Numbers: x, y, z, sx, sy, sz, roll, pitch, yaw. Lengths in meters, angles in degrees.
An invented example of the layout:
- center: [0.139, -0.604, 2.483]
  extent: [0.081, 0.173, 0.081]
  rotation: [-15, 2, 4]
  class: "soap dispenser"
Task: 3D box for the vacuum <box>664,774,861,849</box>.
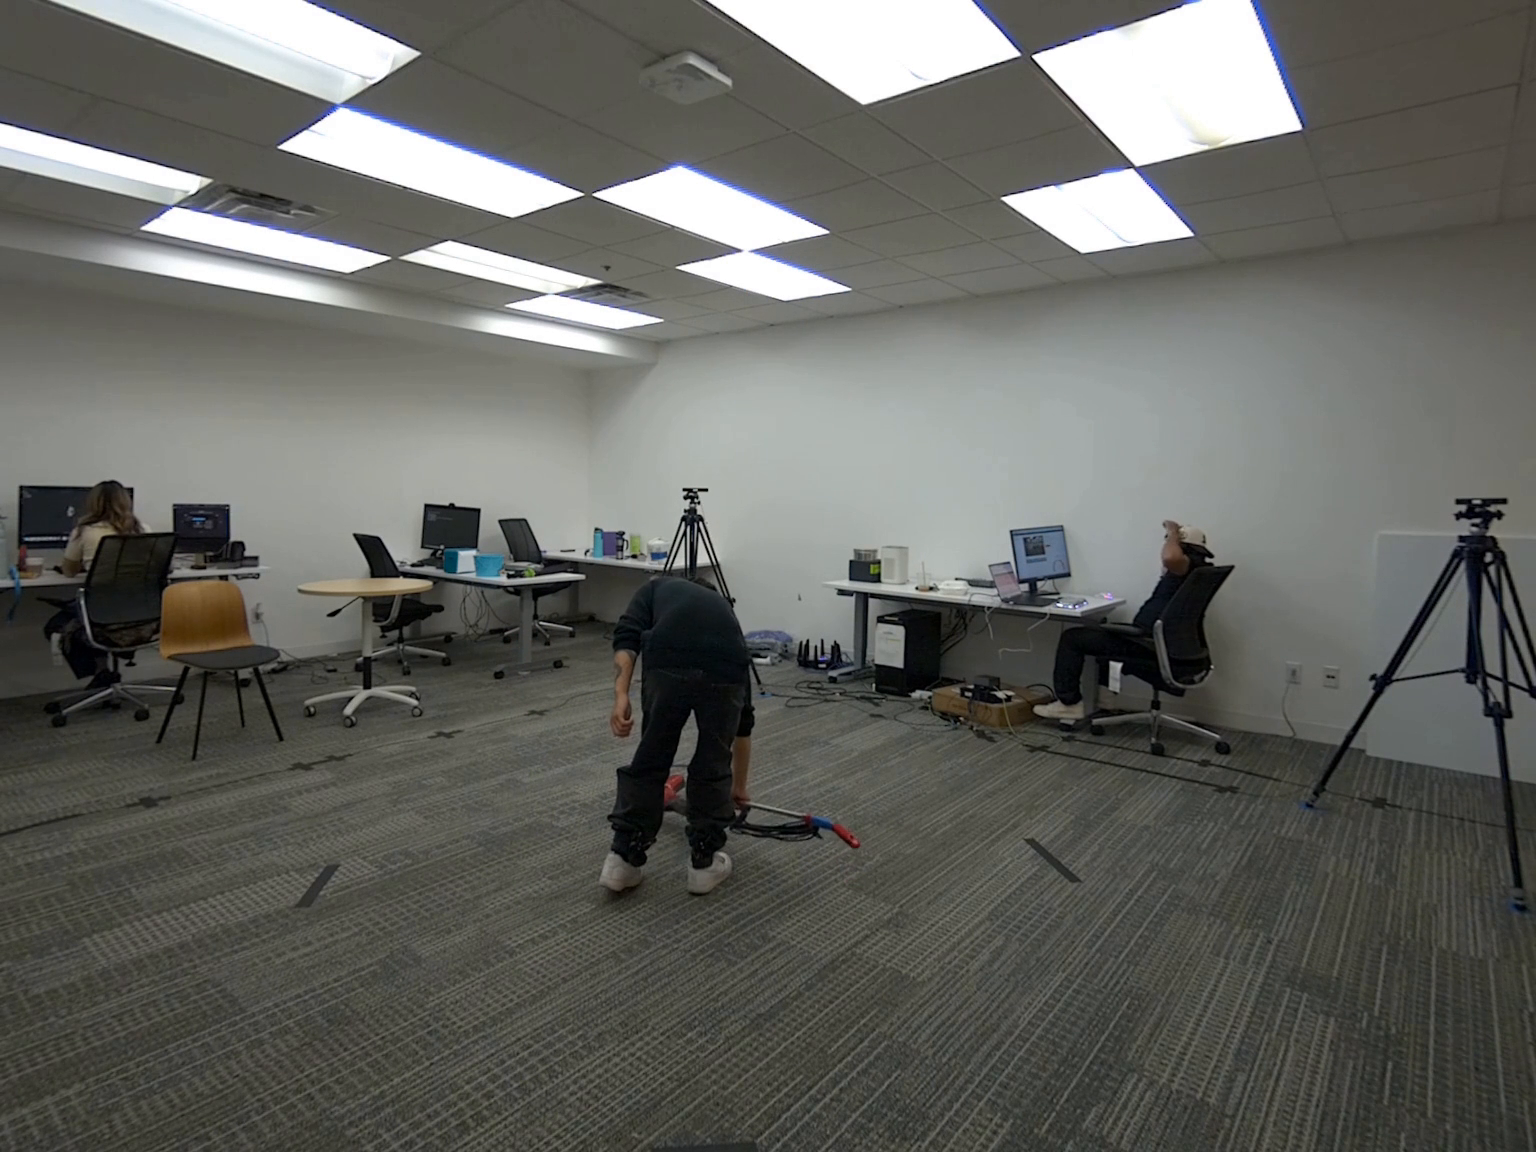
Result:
- center: [-0.074, 0.901, 3.180]
  extent: [0.244, 0.145, 1.081]
  rotation: [5, -5, -42]
  class: "vacuum"
